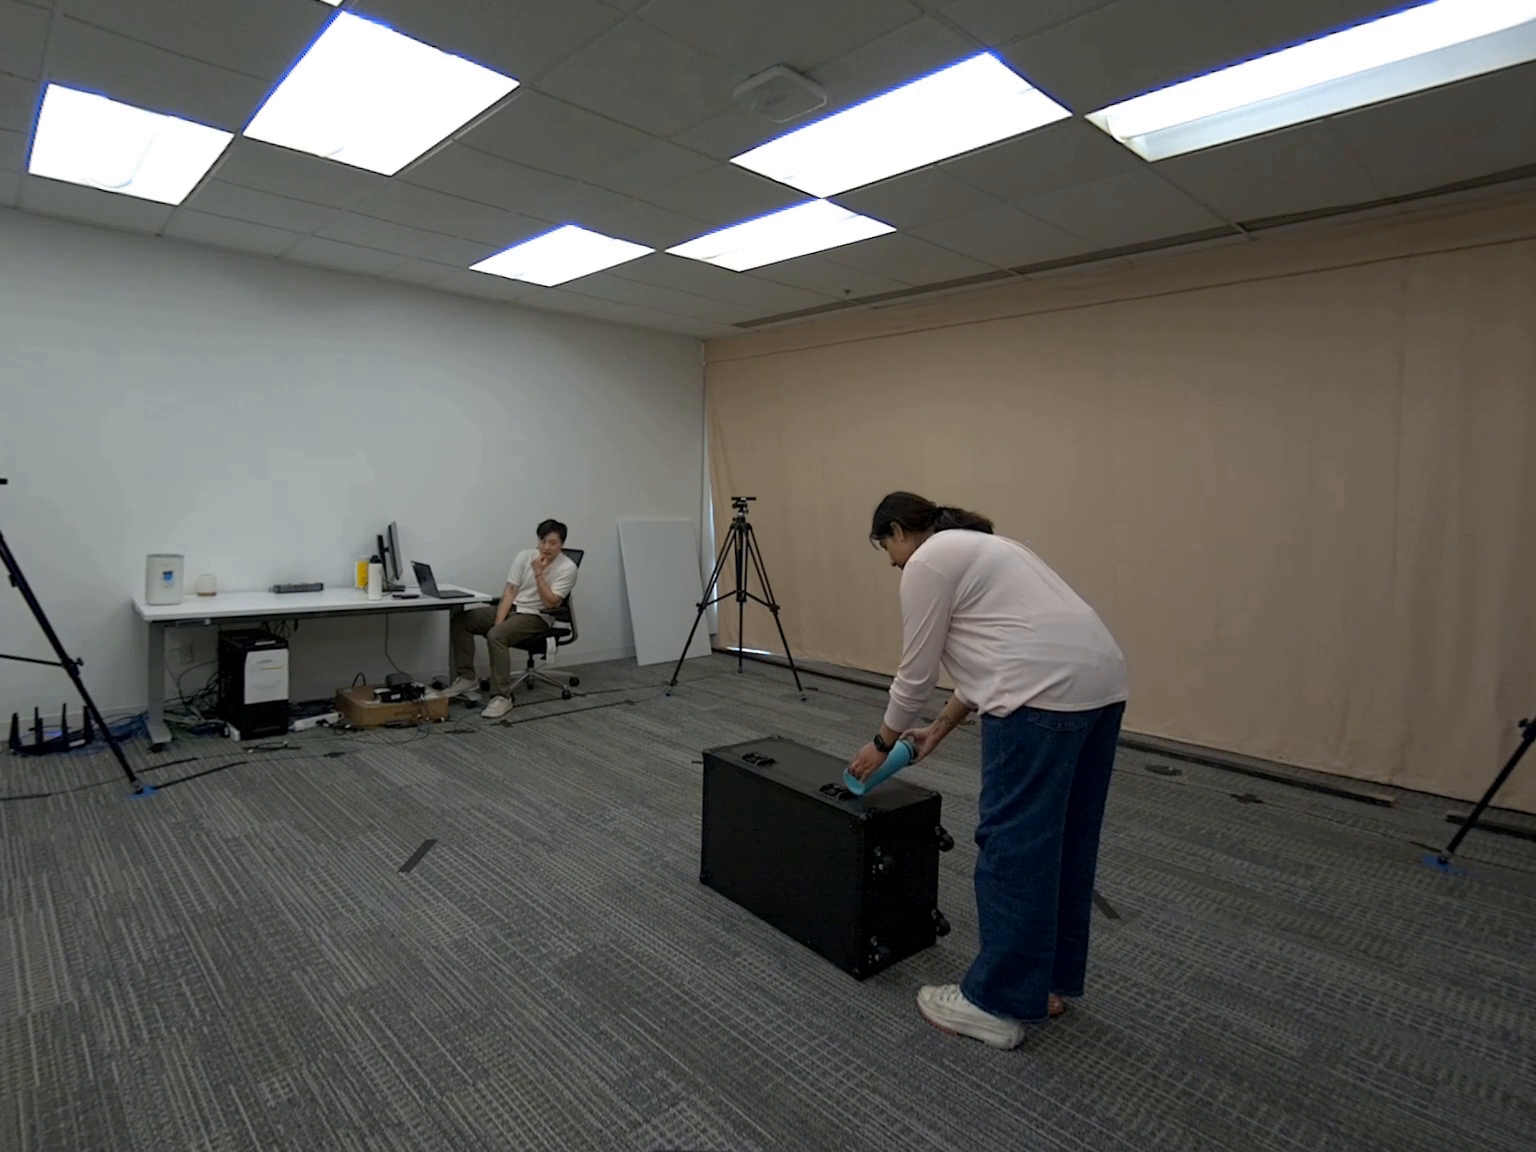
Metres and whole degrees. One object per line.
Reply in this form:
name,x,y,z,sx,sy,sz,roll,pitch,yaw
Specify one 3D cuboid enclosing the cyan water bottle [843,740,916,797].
cyan water bottle,0.356,0.594,2.658,0.095,0.091,0.279,5,19,44
